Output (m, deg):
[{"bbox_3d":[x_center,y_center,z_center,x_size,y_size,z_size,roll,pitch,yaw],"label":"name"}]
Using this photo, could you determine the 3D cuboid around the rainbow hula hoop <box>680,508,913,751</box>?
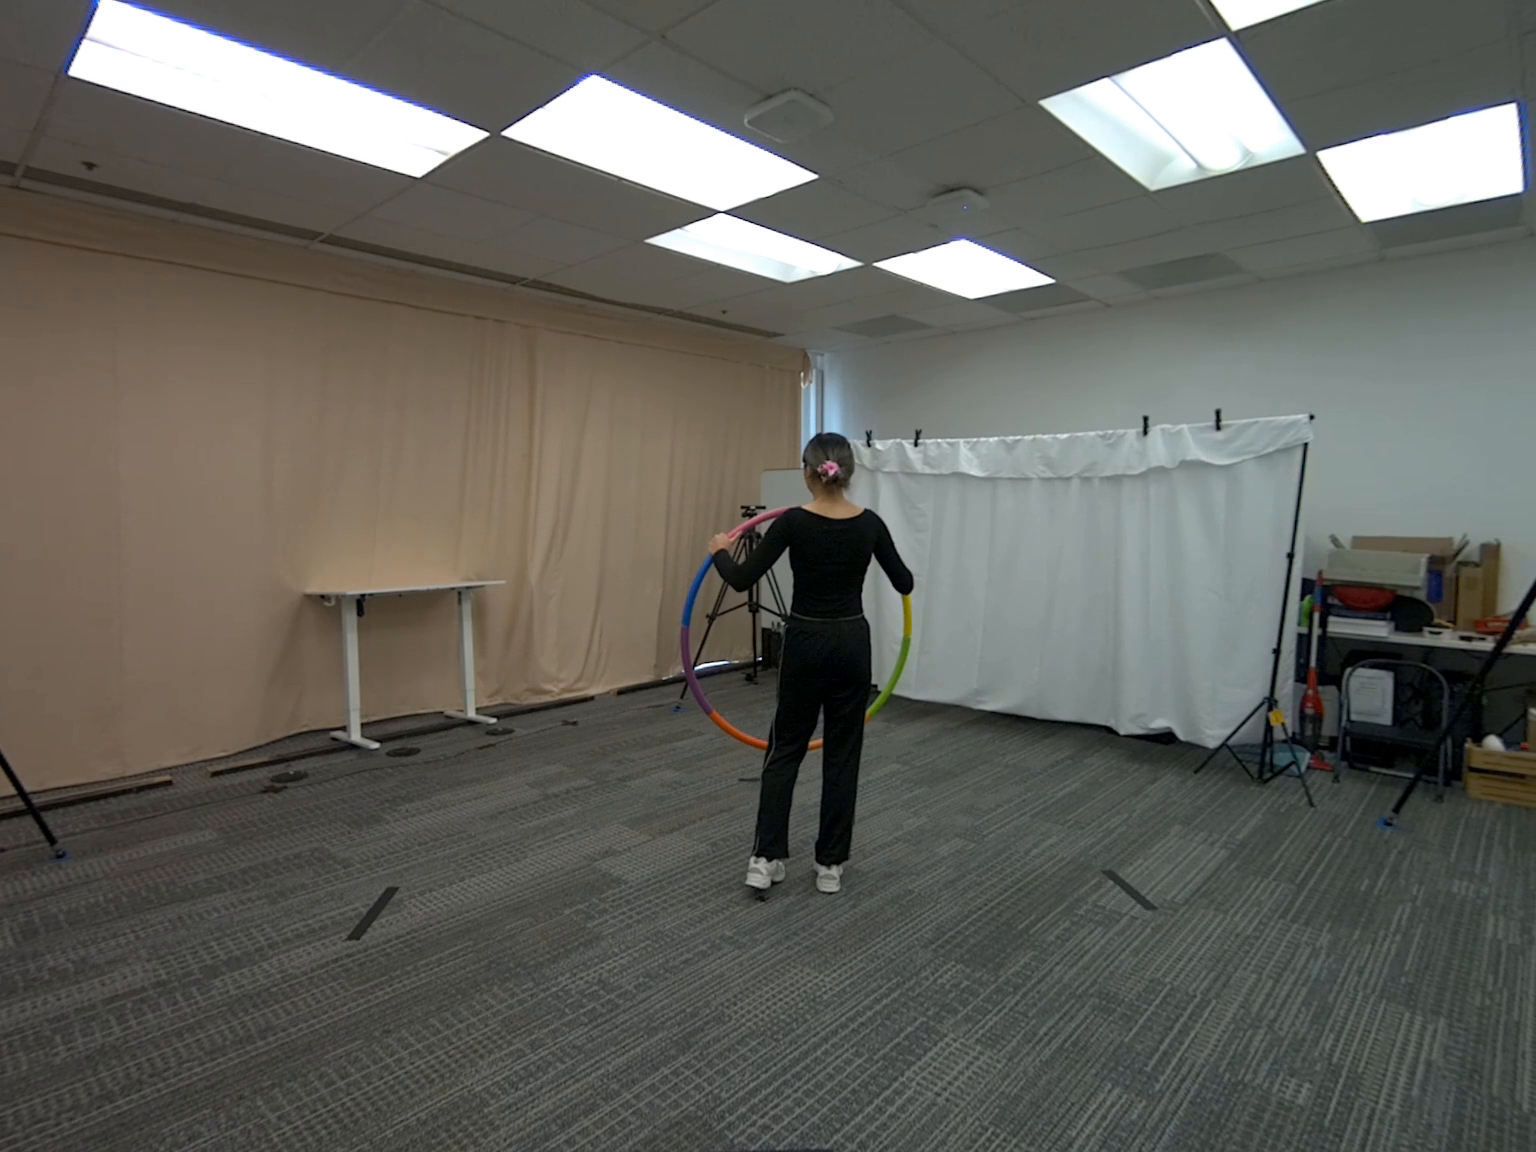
[{"bbox_3d":[0.133,0.218,3.353,0.963,0.974,0.036,-1,8,-15],"label":"rainbow hula hoop"}]
